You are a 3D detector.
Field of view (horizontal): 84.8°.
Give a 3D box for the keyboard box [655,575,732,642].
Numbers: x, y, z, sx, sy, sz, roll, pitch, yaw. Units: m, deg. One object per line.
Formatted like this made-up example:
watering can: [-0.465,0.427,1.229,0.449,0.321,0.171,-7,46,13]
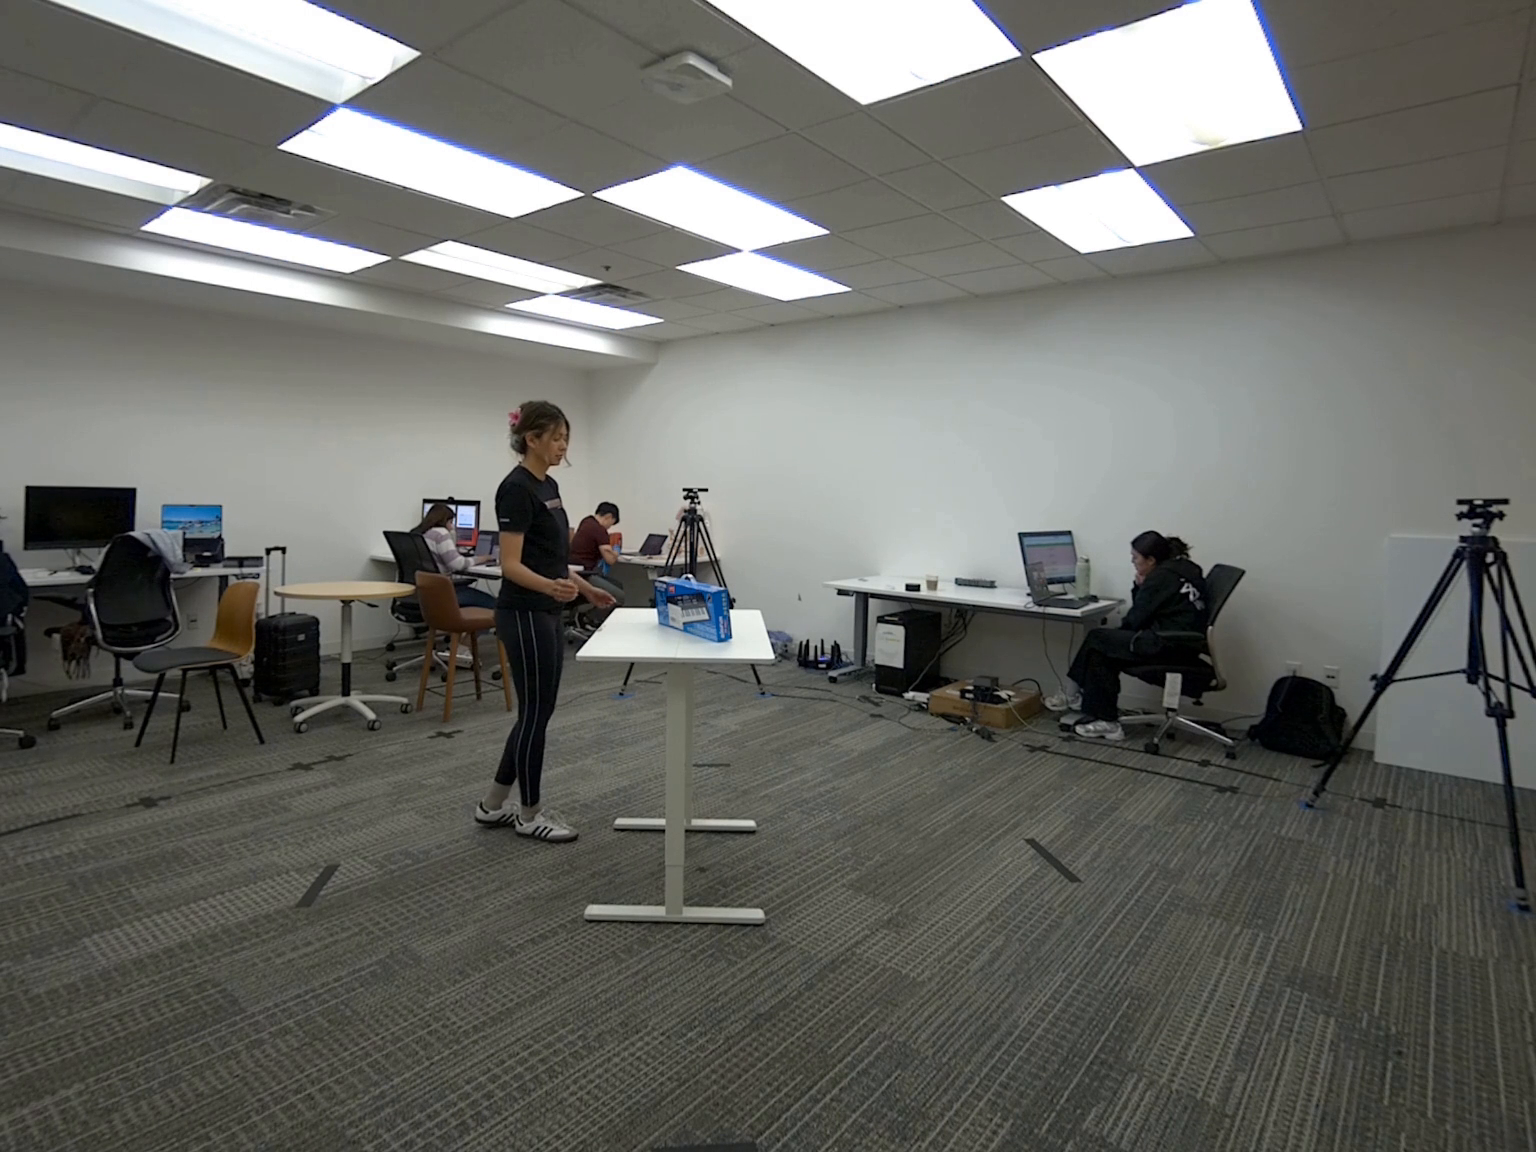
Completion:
keyboard box: [-0.280,0.110,2.995,0.058,0.174,0.451,-10,10,-32]
